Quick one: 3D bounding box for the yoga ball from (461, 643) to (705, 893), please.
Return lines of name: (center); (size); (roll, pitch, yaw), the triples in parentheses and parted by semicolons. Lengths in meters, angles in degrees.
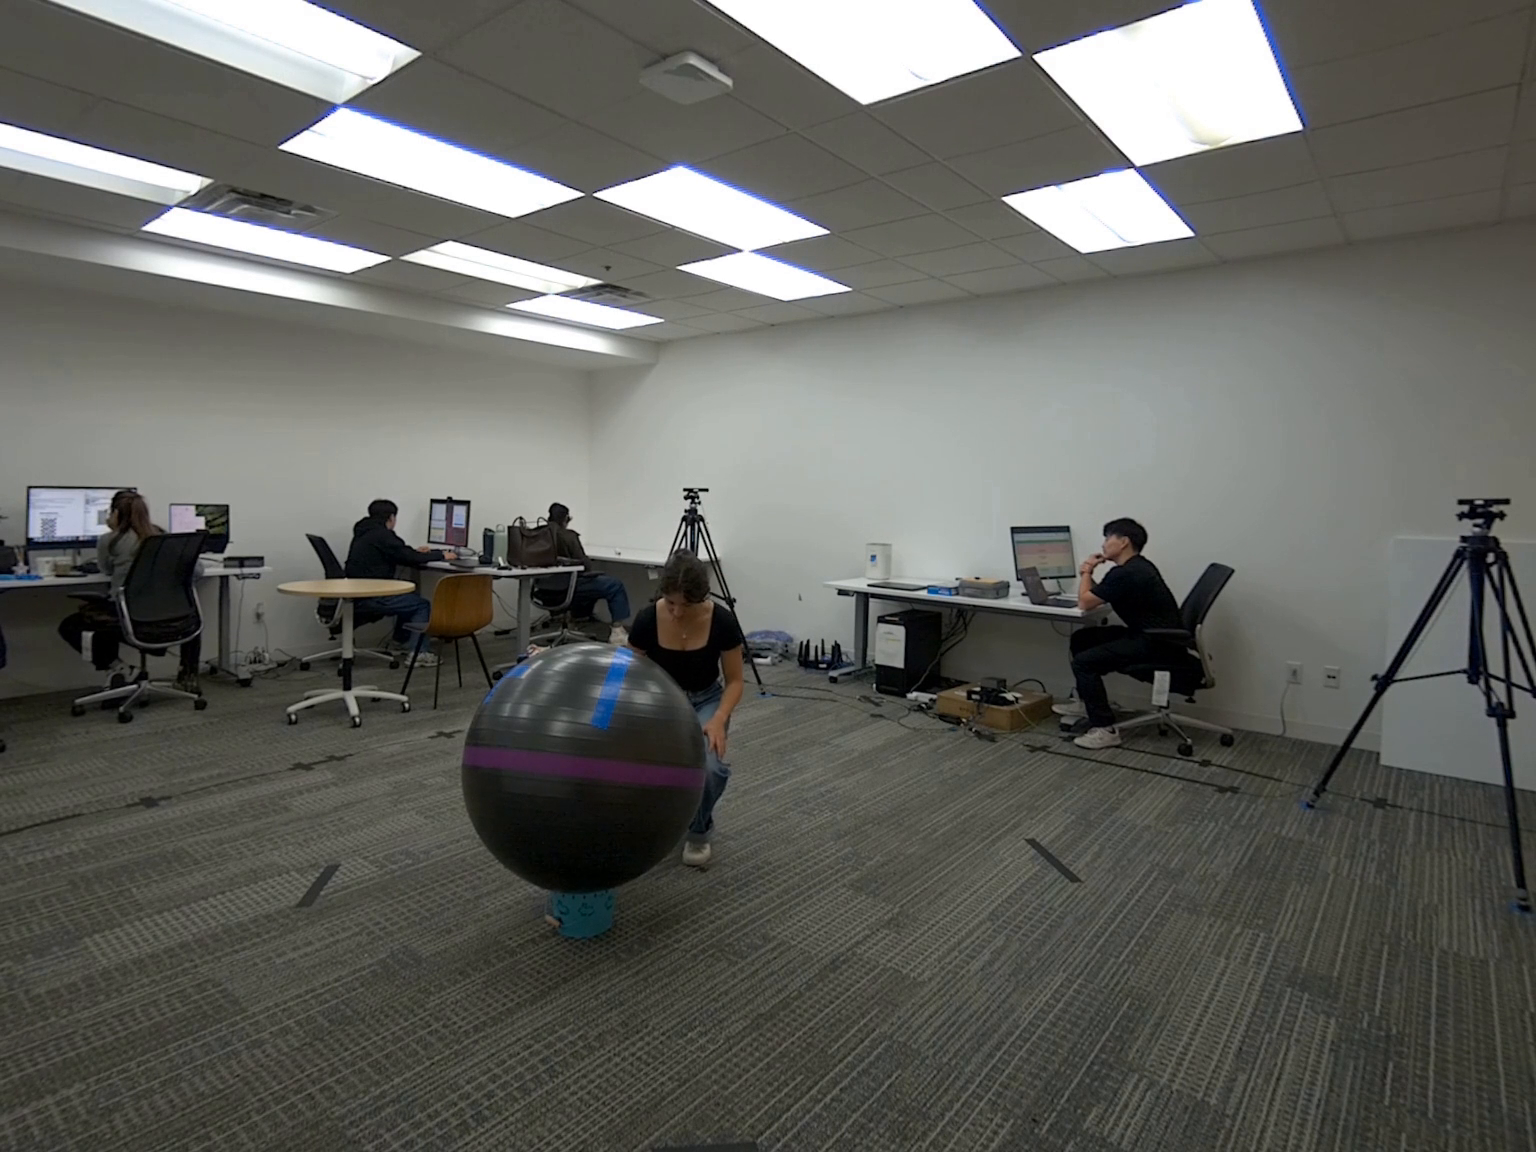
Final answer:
yoga ball: (-0.591, 0.598, 2.689); (0.757, 0.756, 0.761); (1, 4, -2)
